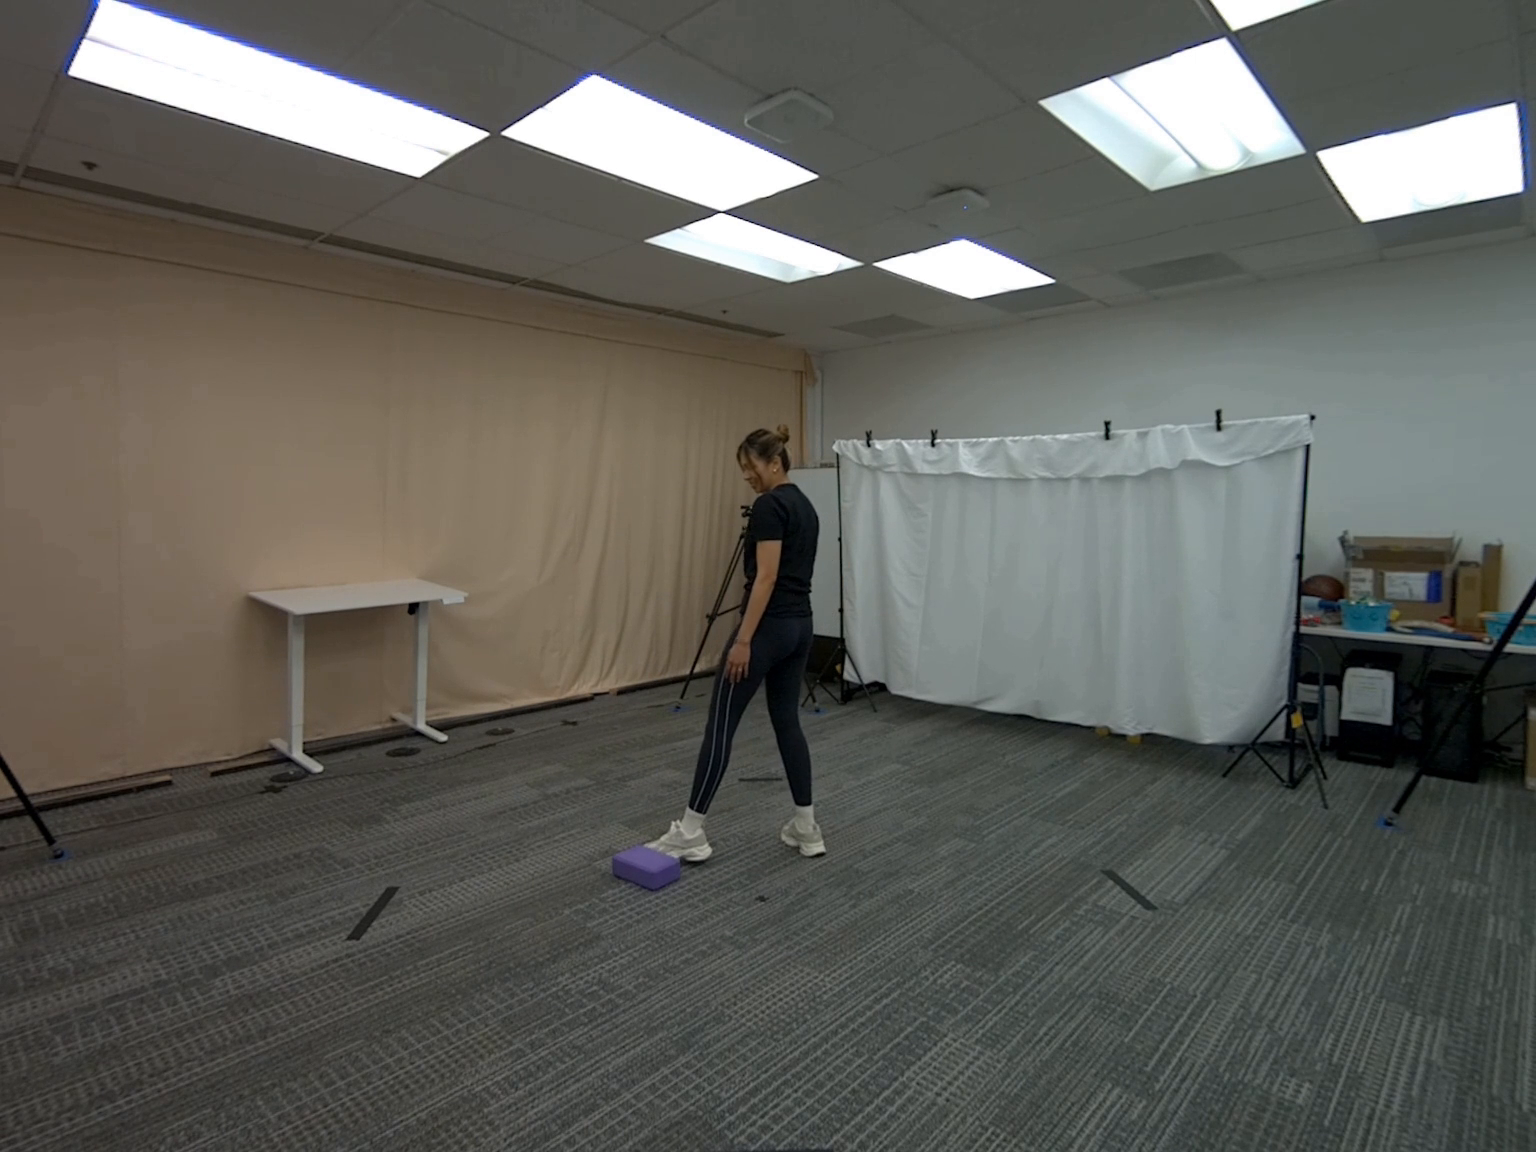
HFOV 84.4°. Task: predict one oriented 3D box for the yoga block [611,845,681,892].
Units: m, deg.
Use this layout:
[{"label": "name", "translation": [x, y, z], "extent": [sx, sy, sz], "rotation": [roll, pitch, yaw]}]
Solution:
[{"label": "yoga block", "translation": [-0.455, 1.087, 3.169], "extent": [0.237, 0.076, 0.144], "rotation": [4, 7, 39]}]
